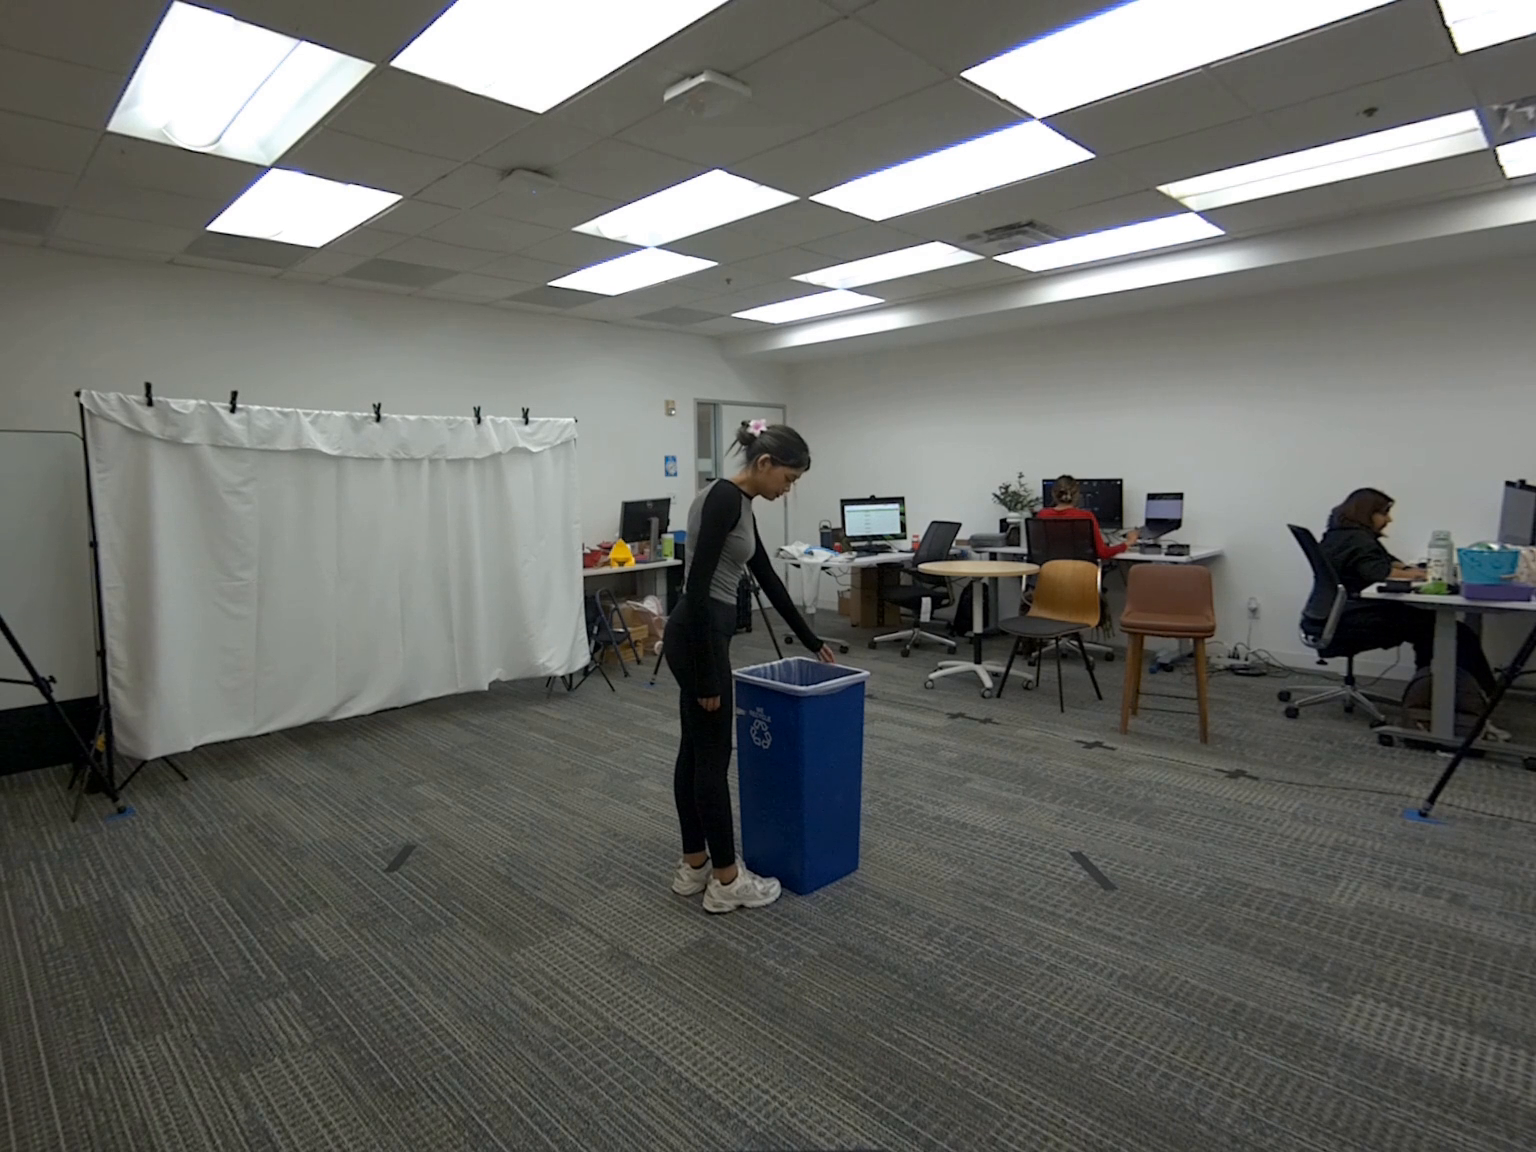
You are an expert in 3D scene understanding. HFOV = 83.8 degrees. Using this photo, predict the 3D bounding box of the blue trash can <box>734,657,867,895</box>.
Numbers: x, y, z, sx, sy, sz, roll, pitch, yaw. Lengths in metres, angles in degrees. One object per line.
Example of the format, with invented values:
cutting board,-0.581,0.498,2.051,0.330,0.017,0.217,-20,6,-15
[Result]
blue trash can,0.125,0.690,3.032,0.368,0.711,0.385,-5,5,-43
